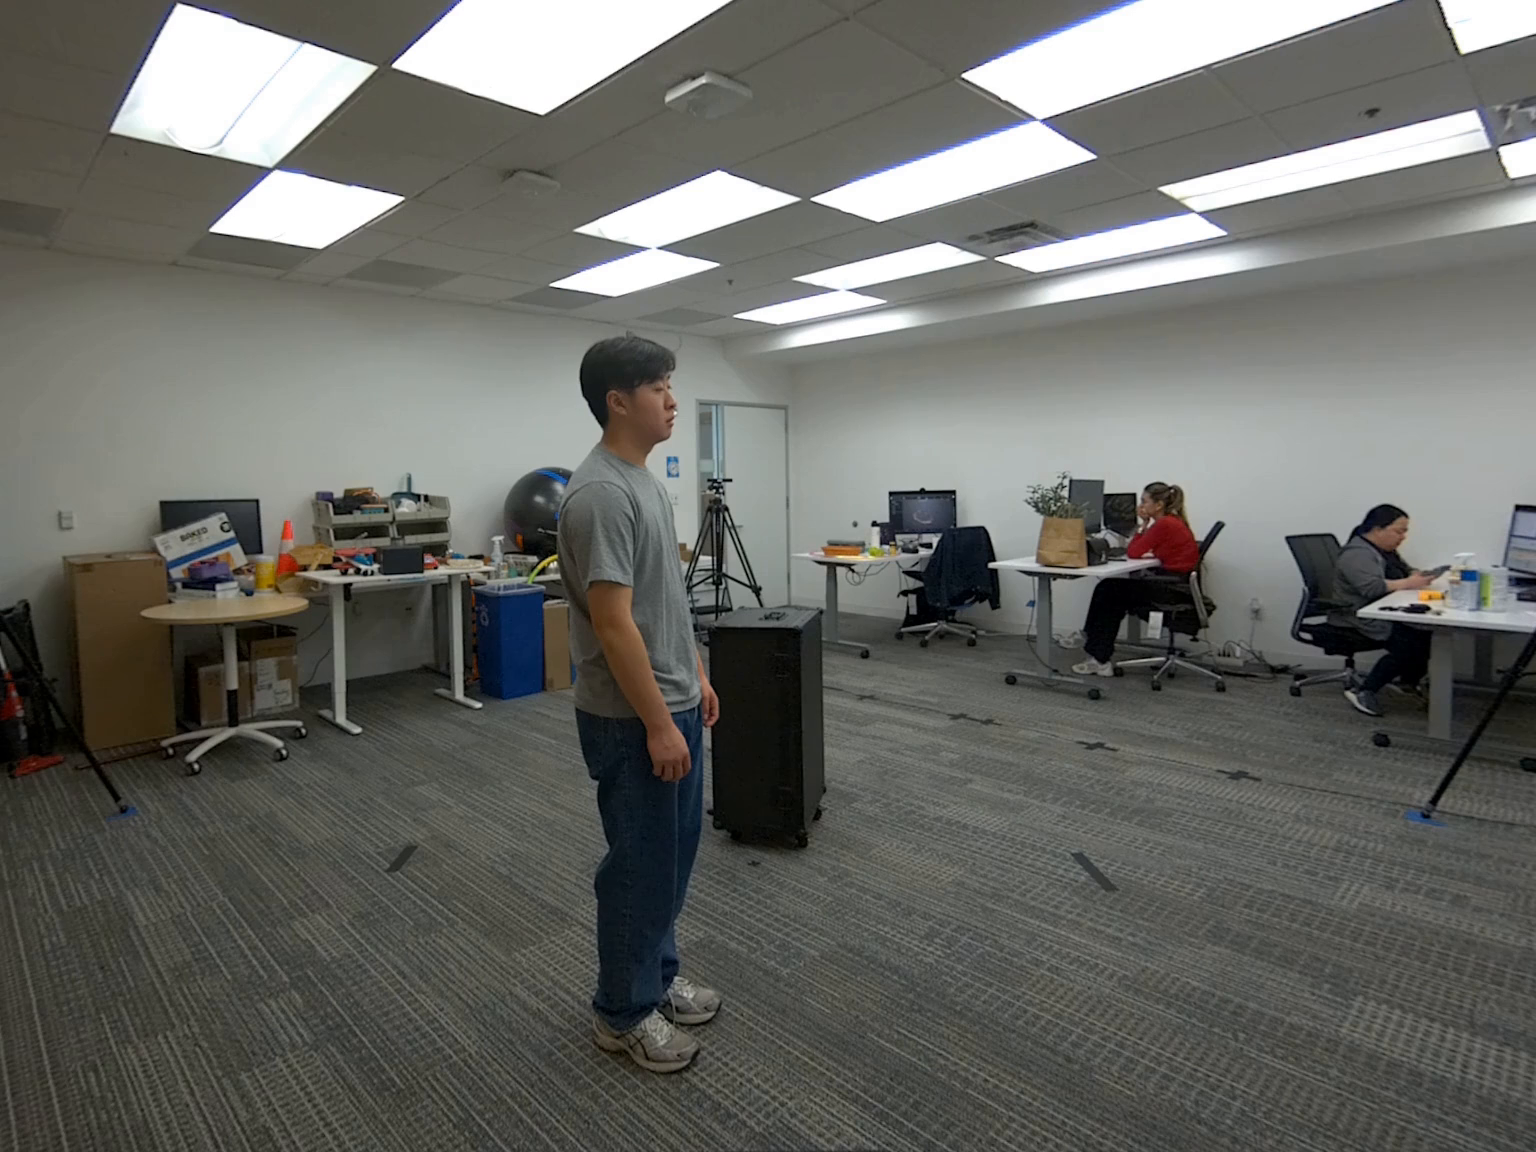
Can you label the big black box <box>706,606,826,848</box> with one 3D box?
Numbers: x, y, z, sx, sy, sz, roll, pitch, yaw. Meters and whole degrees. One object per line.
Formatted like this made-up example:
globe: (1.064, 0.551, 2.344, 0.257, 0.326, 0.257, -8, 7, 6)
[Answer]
big black box: (0.002, 0.583, 3.407, 0.402, 0.858, 0.515, -1, 4, 15)
